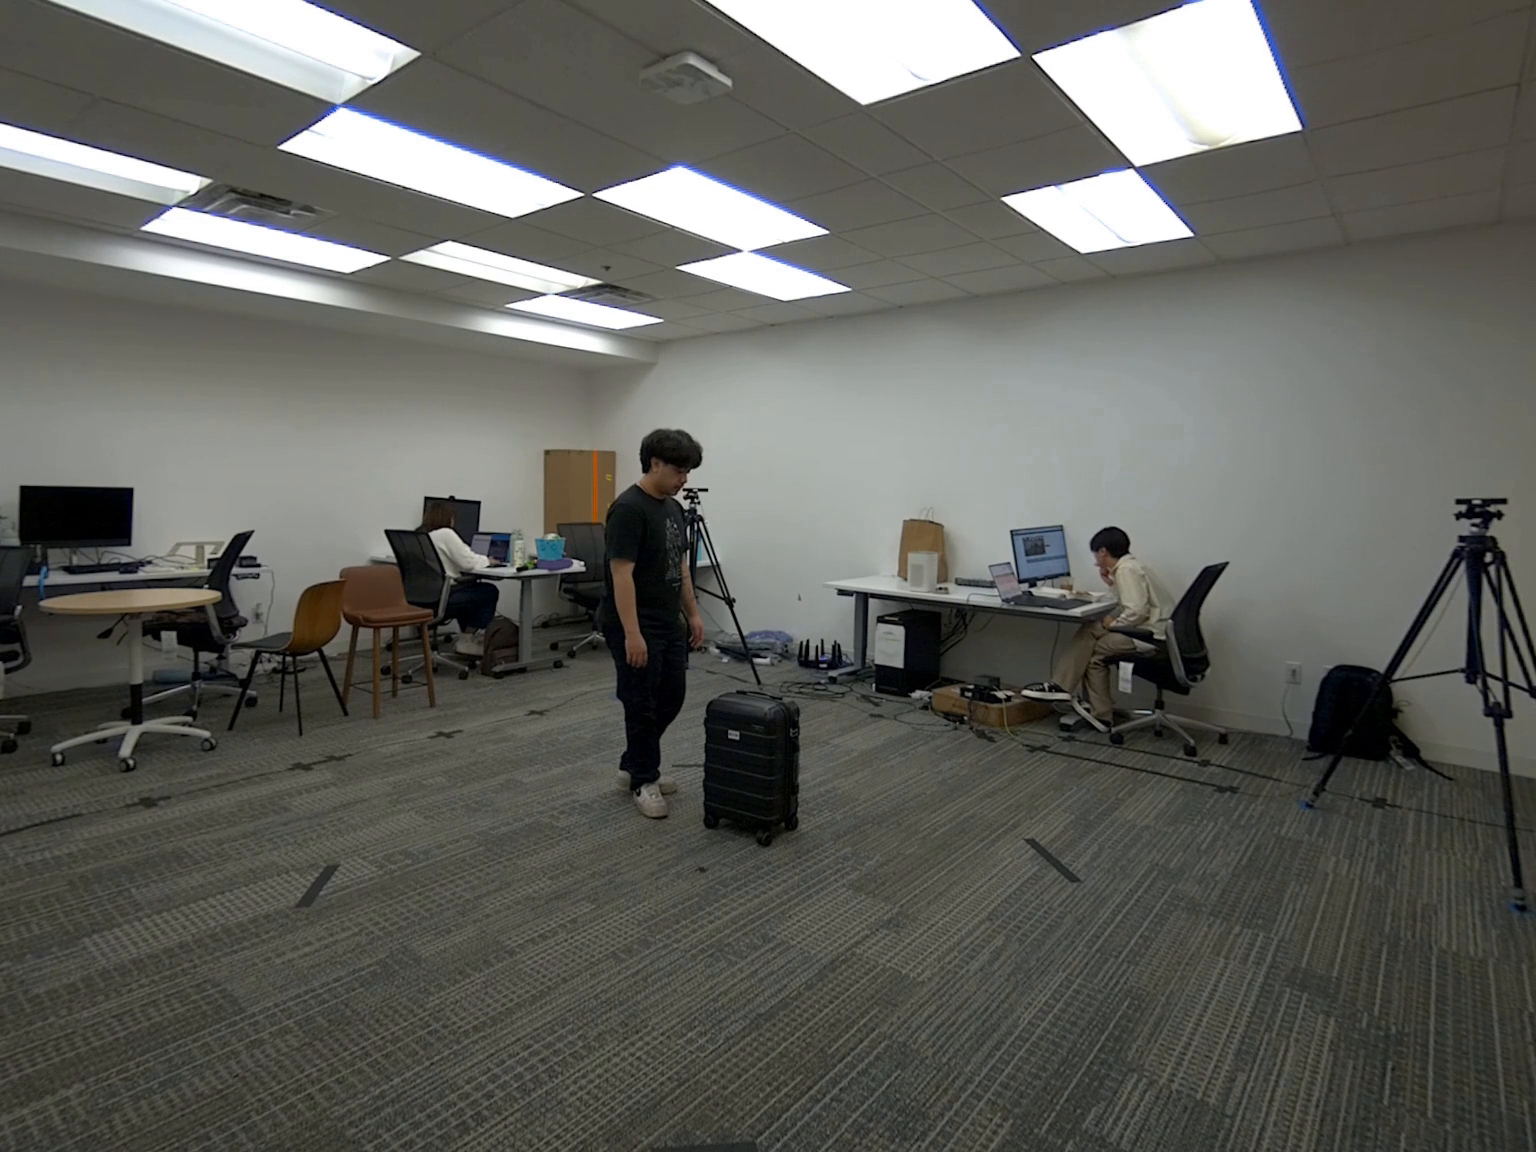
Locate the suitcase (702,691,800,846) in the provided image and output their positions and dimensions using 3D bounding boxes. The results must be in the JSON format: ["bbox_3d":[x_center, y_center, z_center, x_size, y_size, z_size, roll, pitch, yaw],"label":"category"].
[{"bbox_3d":[-0.073,0.758,3.502,0.387,0.548,0.241,4,3,32],"label":"suitcase"}]
